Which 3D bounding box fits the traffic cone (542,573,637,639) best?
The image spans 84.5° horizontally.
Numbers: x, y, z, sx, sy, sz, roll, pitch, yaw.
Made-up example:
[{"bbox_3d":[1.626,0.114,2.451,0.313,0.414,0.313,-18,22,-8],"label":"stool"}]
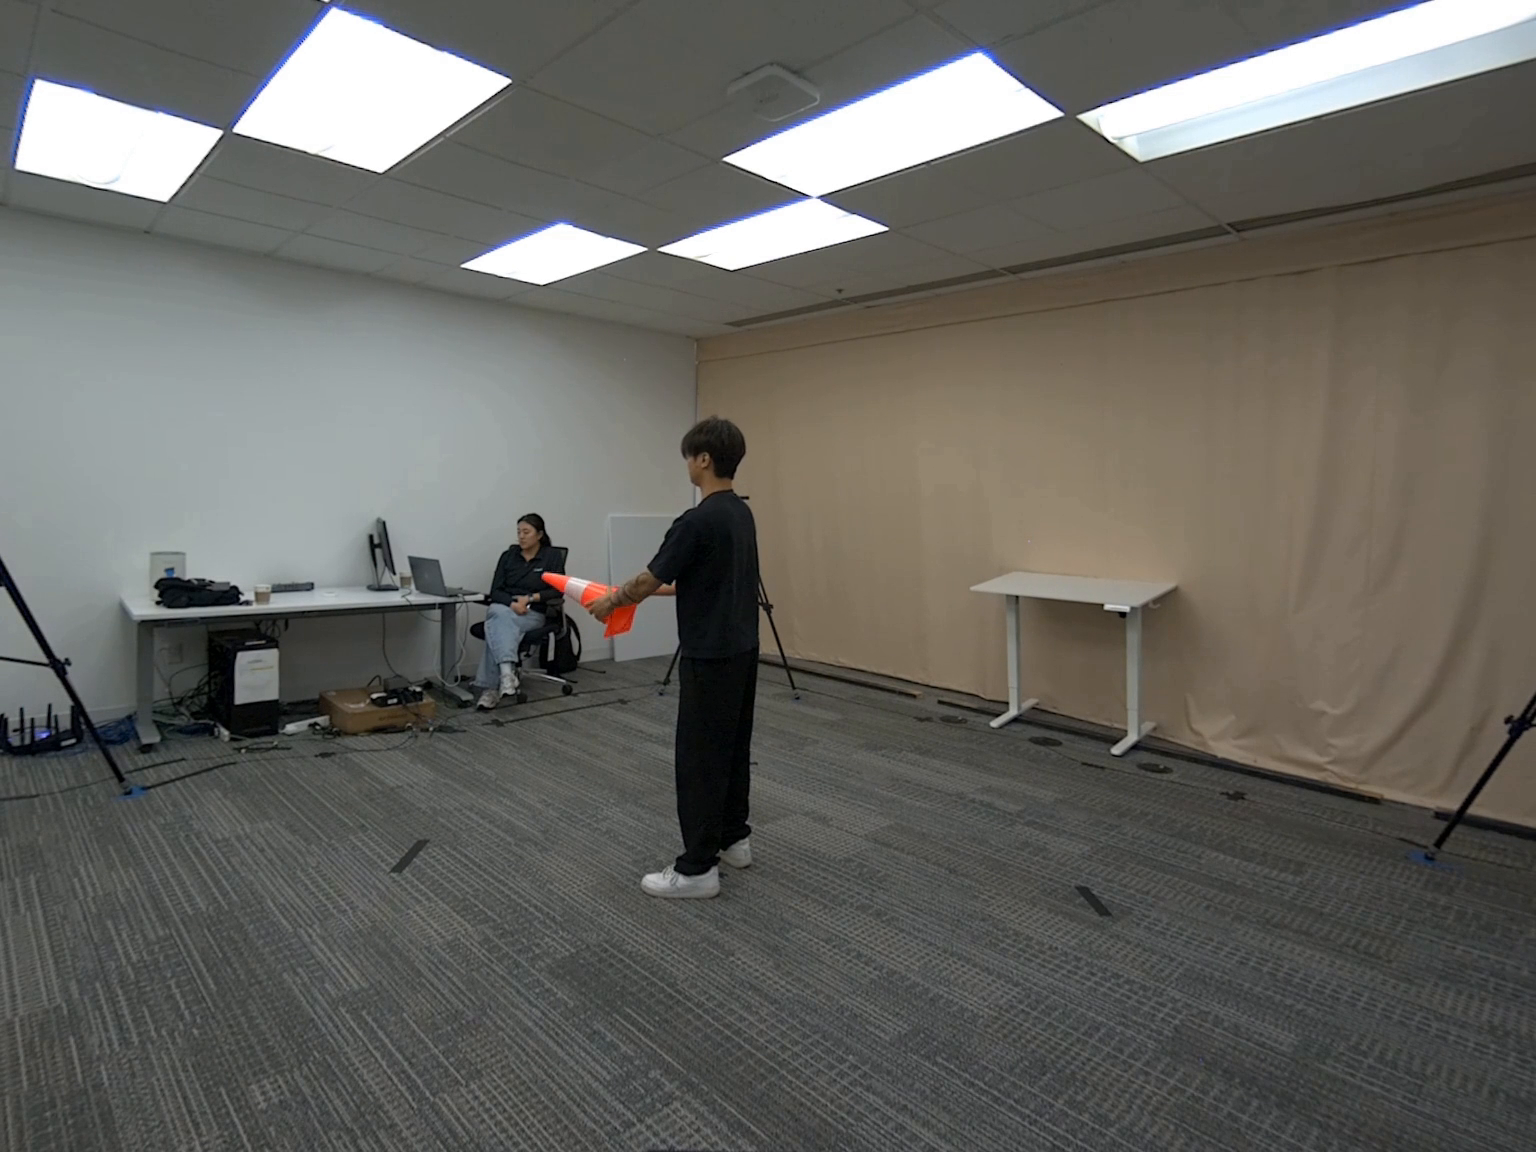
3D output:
[{"bbox_3d":[-0.720,0.059,3.291,0.391,0.202,0.202,23,12,20],"label":"traffic cone"}]
